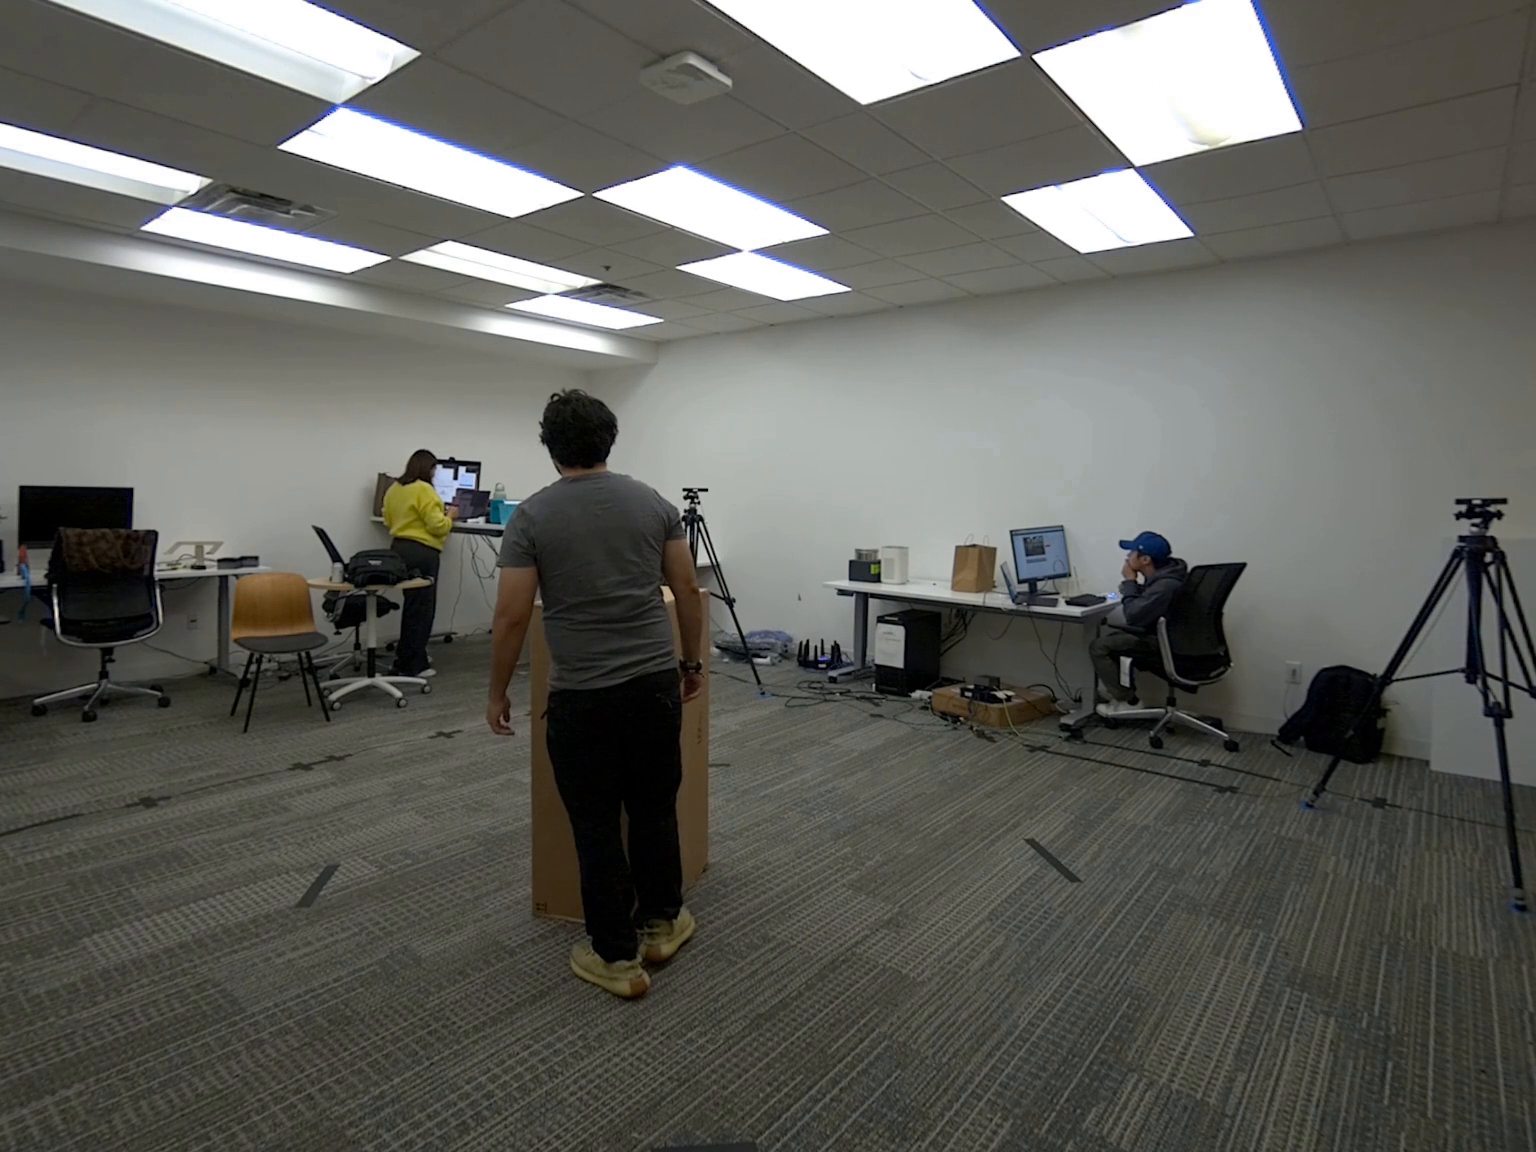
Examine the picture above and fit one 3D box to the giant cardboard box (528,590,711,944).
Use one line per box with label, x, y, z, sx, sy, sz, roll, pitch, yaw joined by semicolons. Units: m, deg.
giant cardboard box;-0.501;0.573;2.941;0.454;1.024;0.576;2;3;15
